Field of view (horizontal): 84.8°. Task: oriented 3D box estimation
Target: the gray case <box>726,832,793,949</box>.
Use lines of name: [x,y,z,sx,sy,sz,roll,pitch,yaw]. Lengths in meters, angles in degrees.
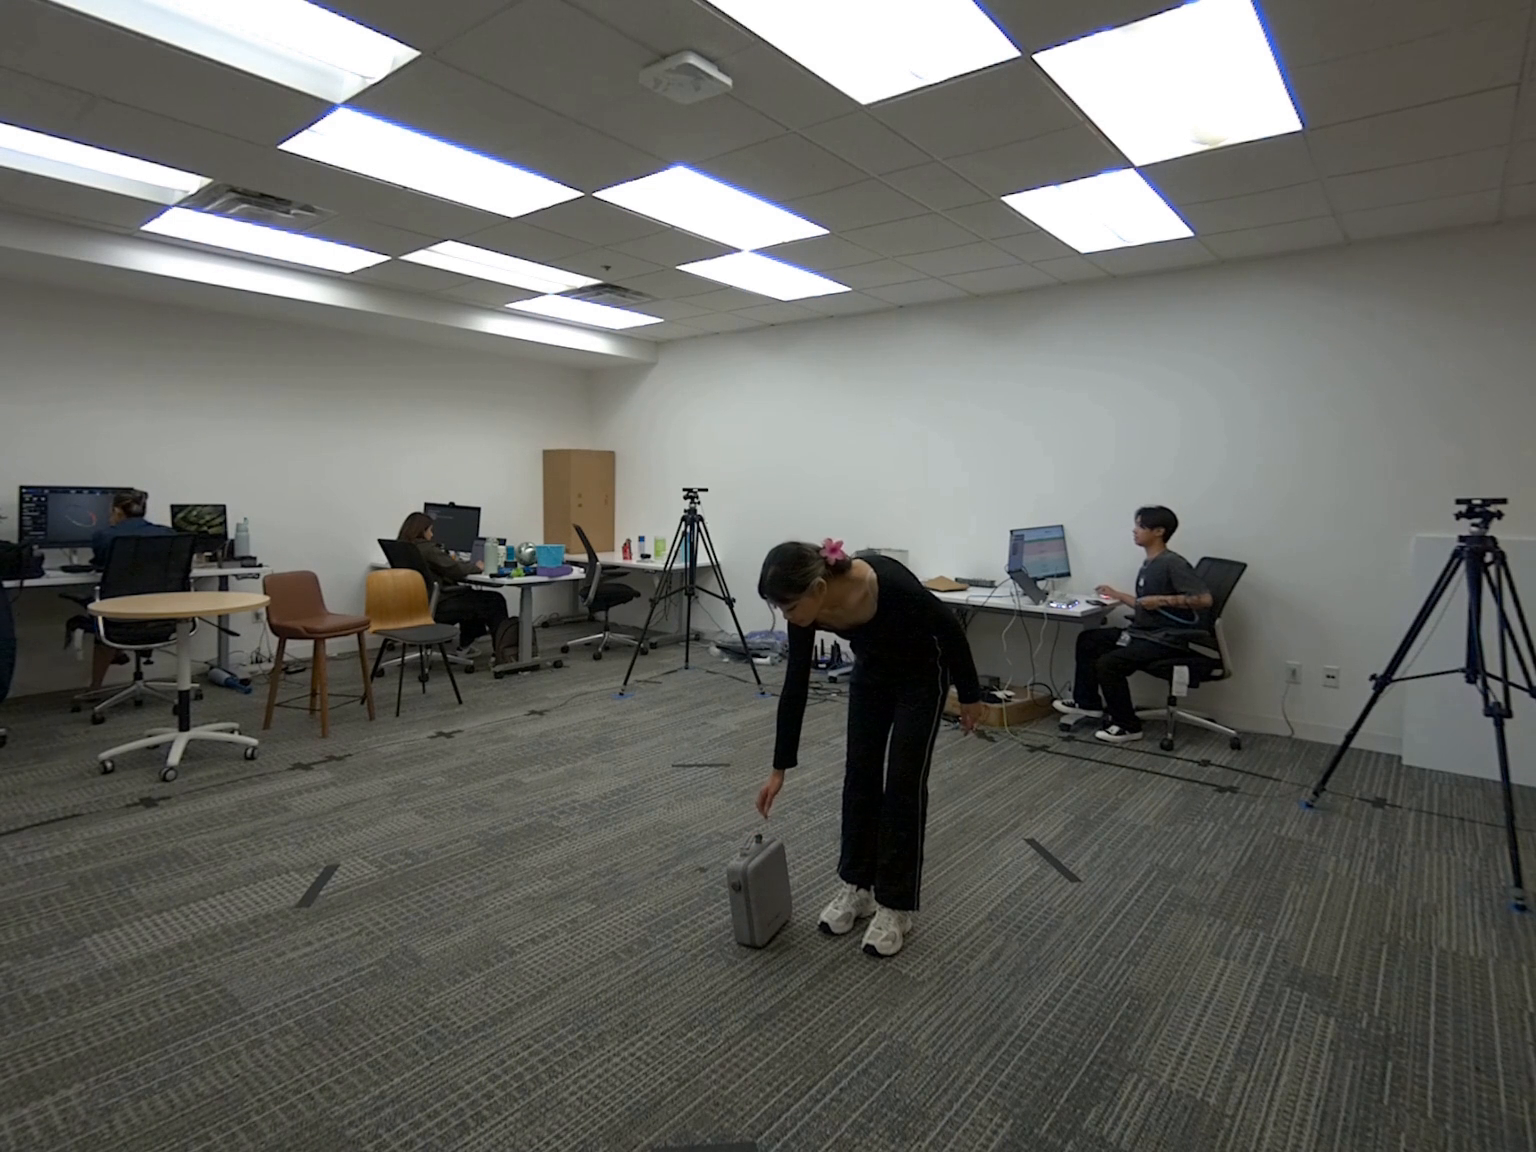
gray case: [-0.033,0.984,2.682,0.106,0.261,0.251,-8,-1,26]
